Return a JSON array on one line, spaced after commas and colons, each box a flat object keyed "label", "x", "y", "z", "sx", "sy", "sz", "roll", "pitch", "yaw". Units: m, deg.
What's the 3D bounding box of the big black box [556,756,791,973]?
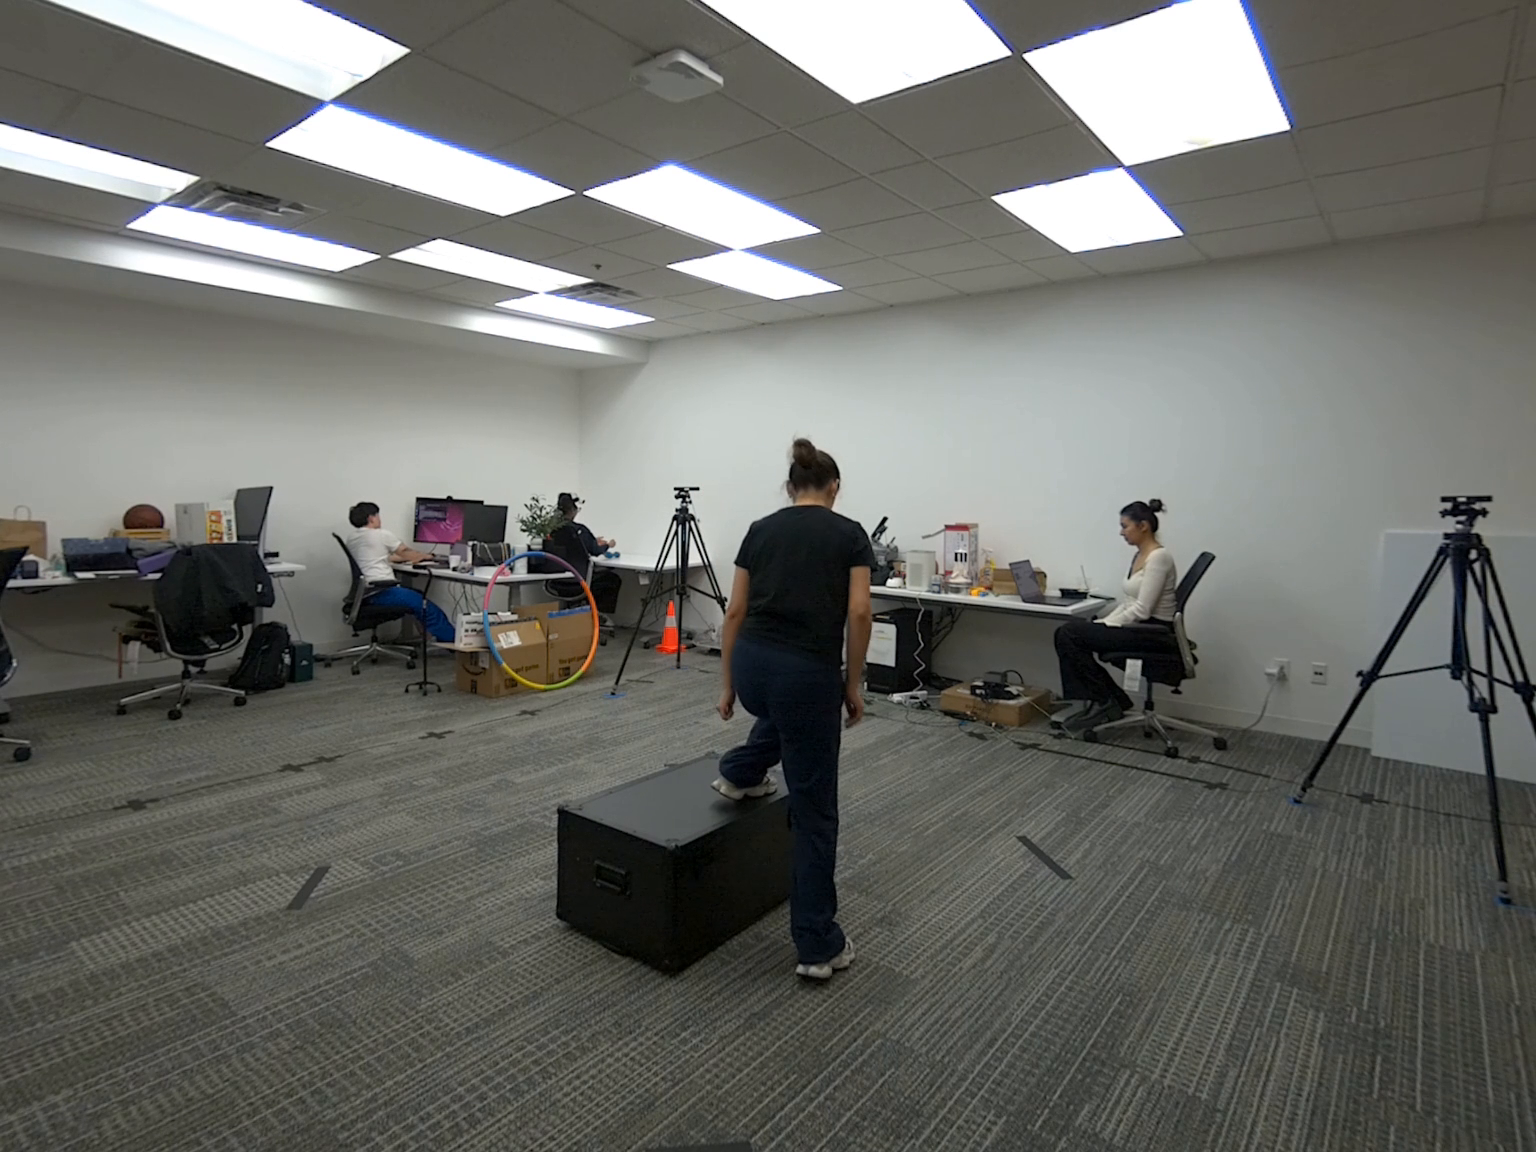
[{"label": "big black box", "x": -0.218, "y": 0.900, "z": 2.867, "sx": 0.538, "sy": 0.394, "sz": 0.837, "roll": 5, "pitch": 7, "yaw": 36}]
